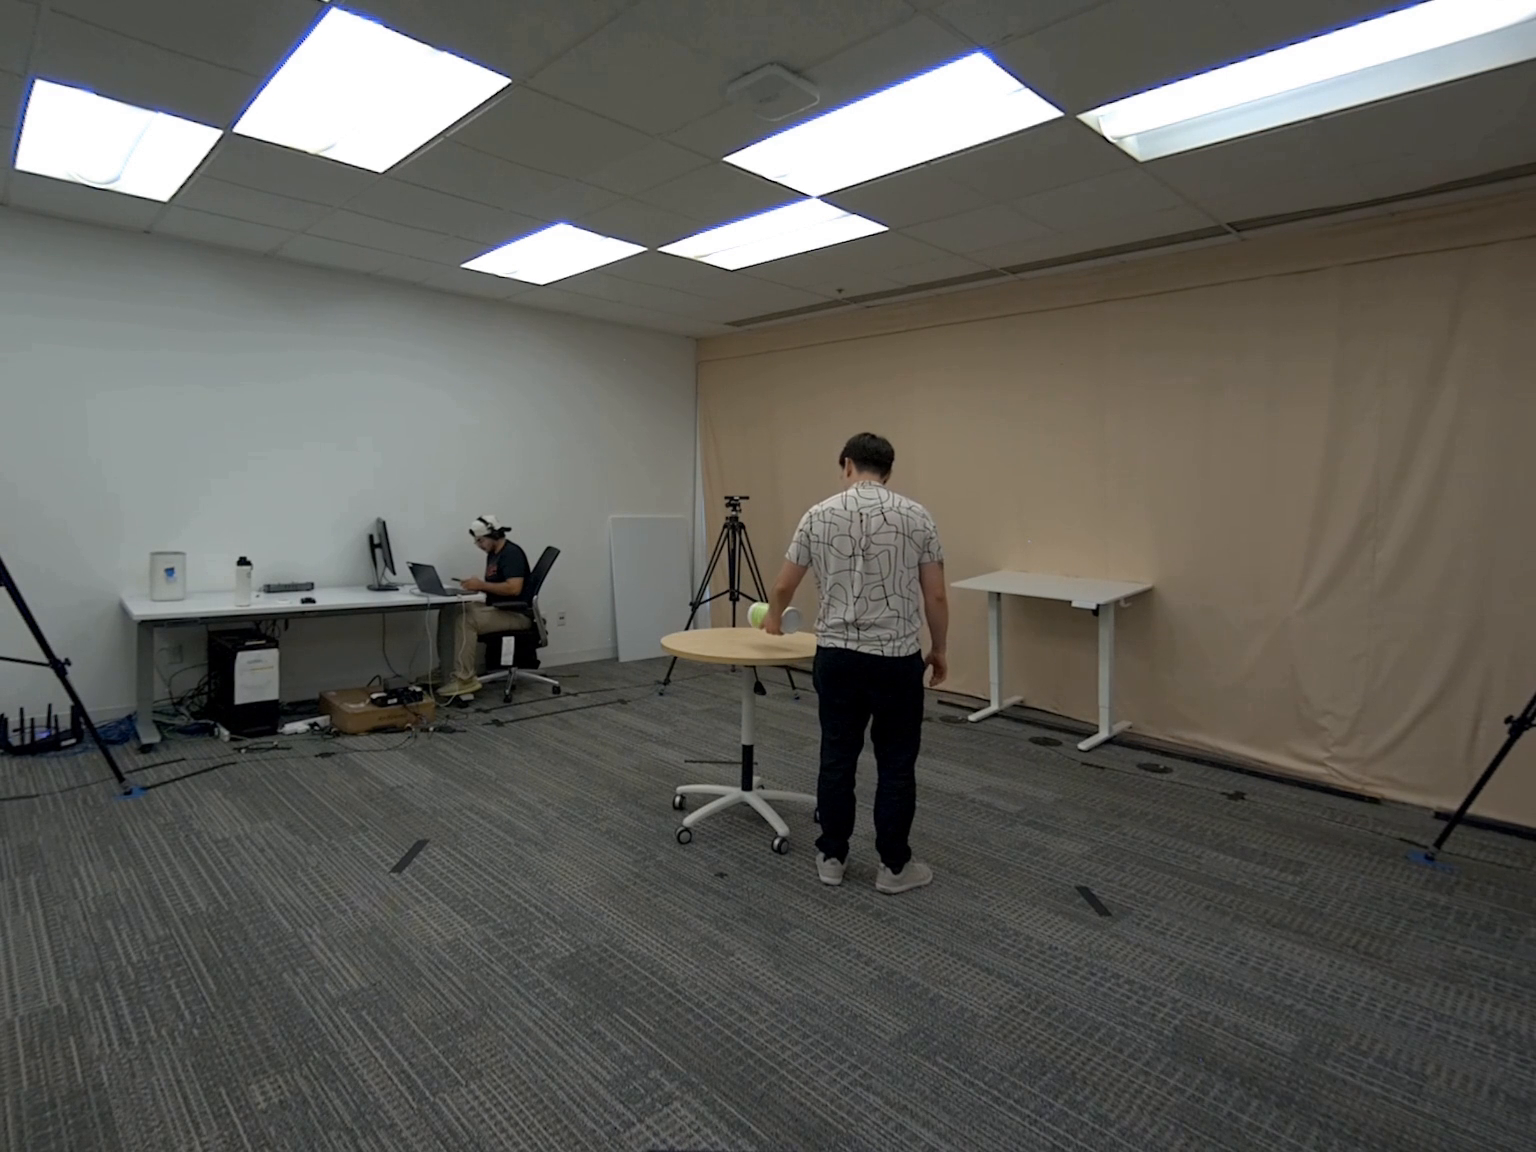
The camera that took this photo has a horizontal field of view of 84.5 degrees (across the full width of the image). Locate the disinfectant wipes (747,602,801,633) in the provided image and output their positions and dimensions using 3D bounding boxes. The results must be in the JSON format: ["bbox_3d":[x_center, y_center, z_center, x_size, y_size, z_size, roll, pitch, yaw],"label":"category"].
[{"bbox_3d":[0.030,0.171,3.451,0.115,0.117,0.223,-2,8,-41],"label":"disinfectant wipes"}]
